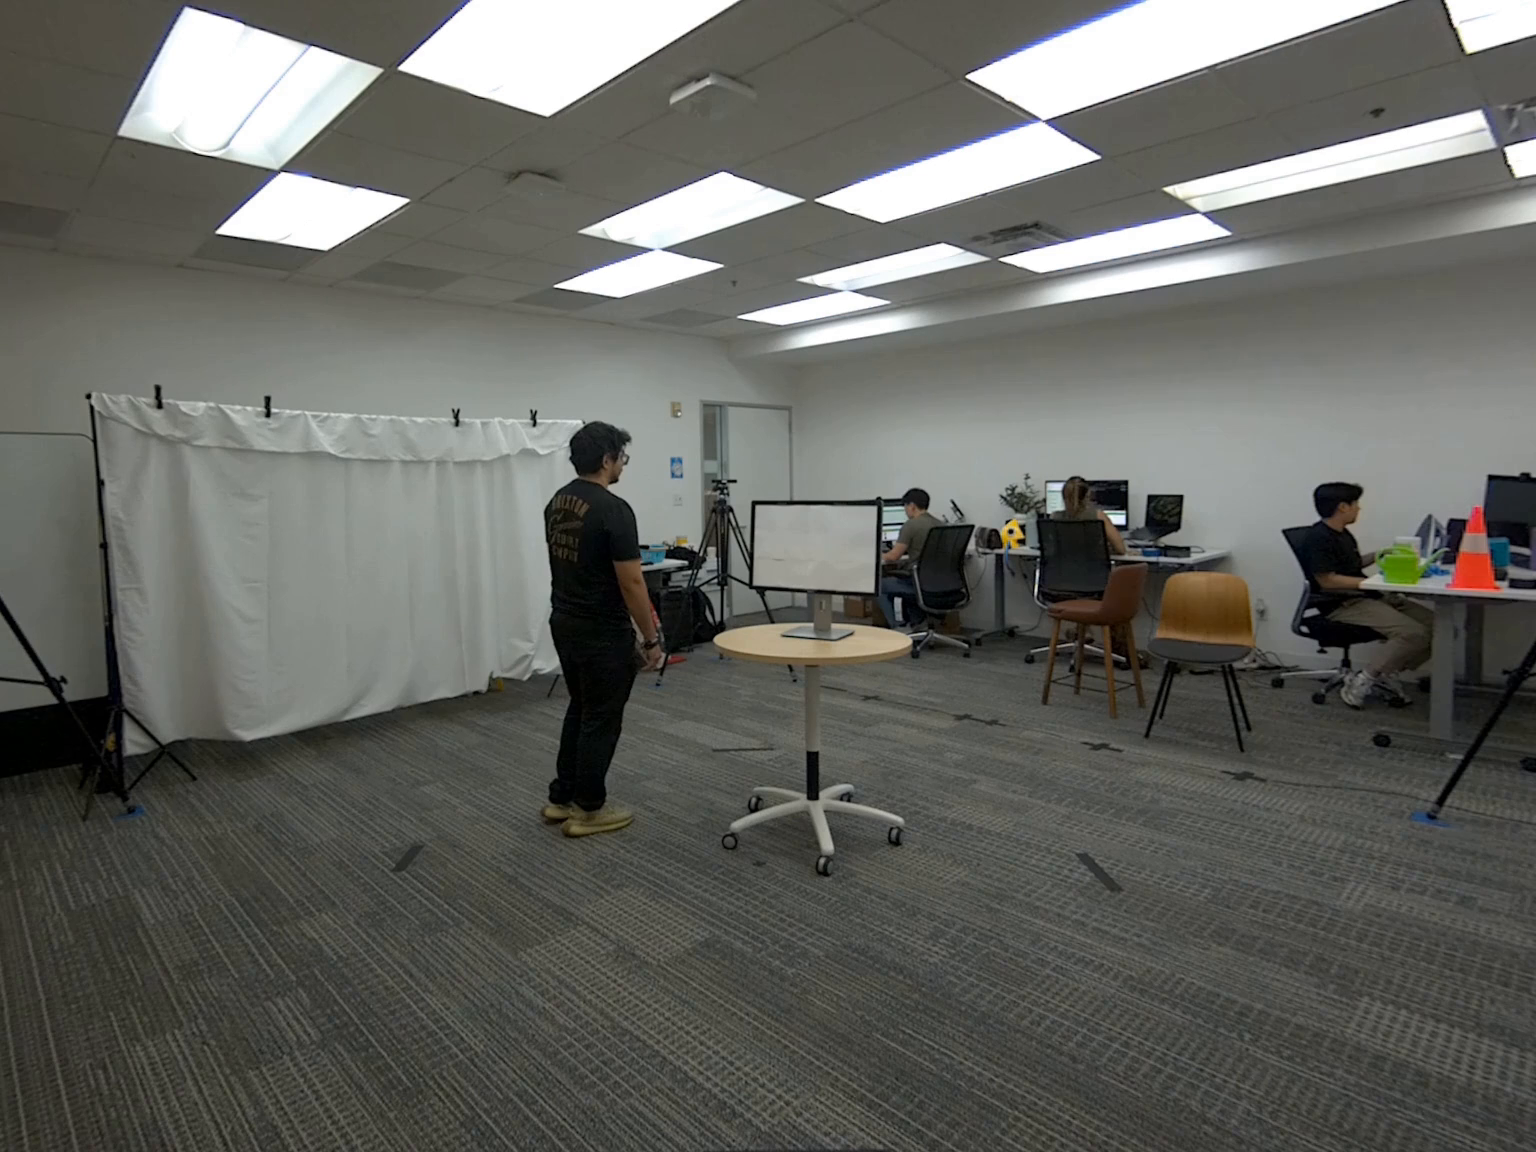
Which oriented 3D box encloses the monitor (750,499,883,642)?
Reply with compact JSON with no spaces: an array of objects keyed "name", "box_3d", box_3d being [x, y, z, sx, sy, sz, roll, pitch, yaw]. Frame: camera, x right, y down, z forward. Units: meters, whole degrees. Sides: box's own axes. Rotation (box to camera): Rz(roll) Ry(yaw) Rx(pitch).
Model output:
[{"name":"monitor","box_3d":[0.206,-0.031,3.408,0.580,0.553,0.205,2,2,30]}]
